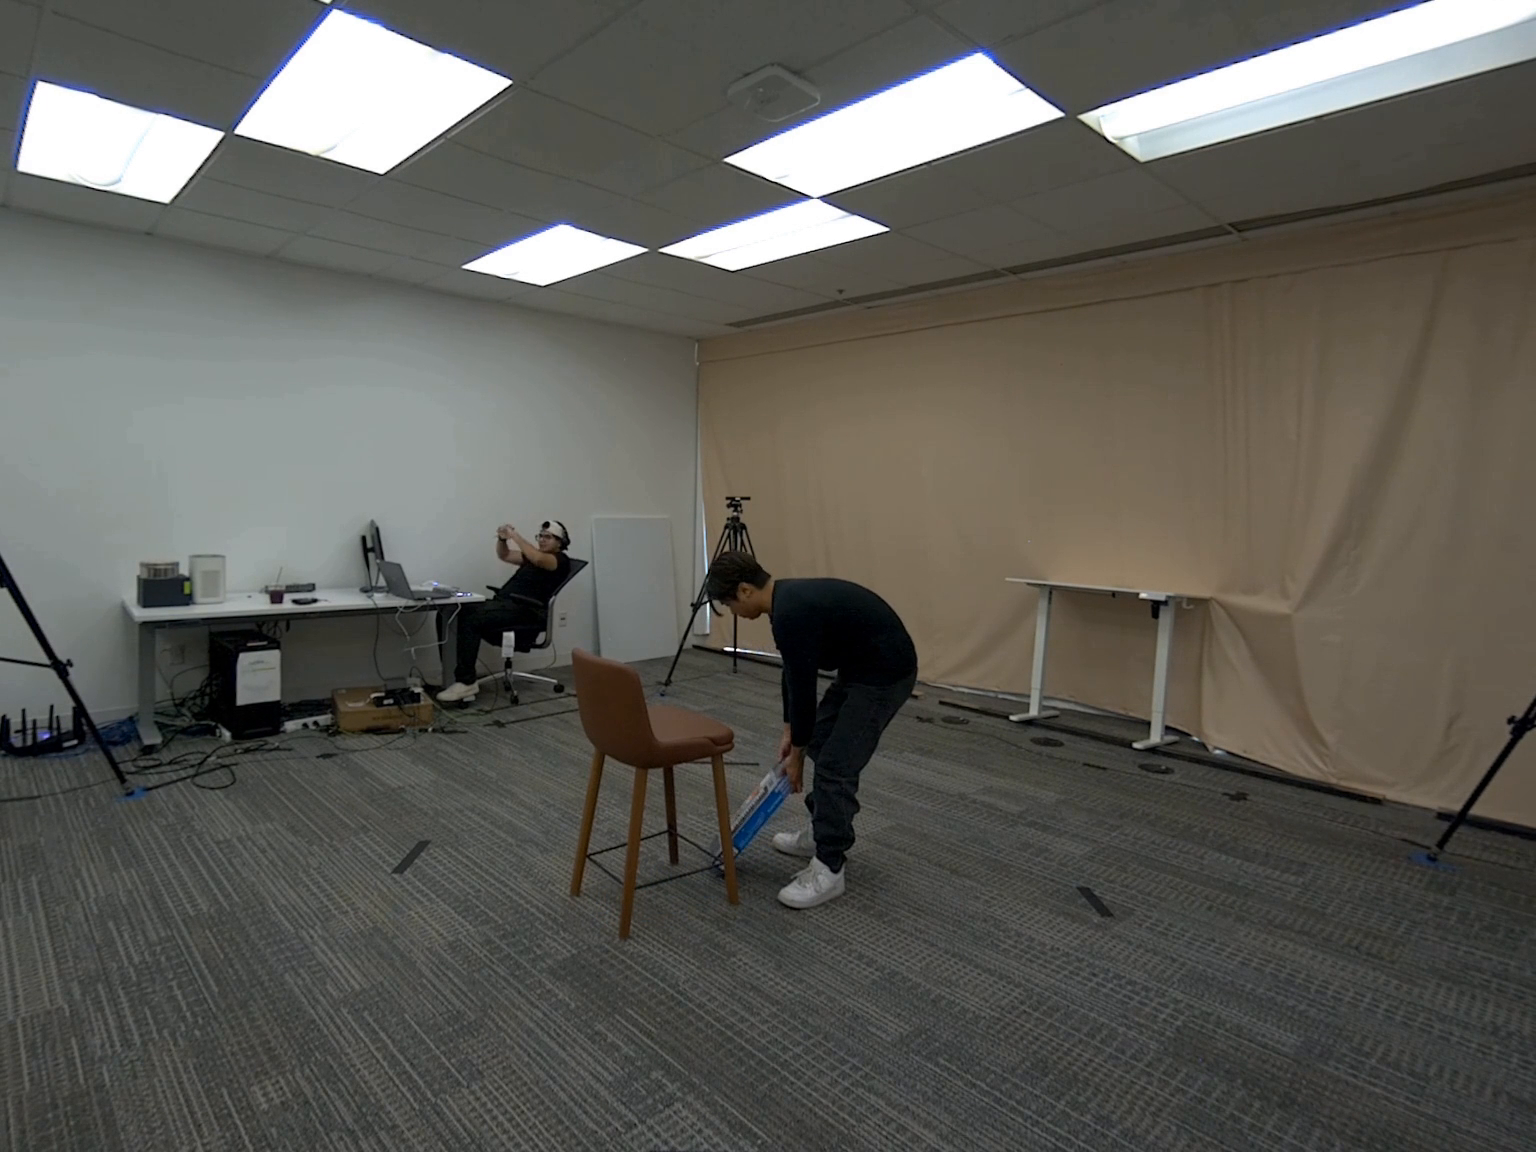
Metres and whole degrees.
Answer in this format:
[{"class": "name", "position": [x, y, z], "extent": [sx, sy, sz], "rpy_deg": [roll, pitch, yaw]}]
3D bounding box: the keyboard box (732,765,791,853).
[{"class": "keyboard box", "position": [-0.060, 0.884, 3.143], "extent": [0.059, 0.437, 0.177], "rpy_deg": [38, 1, -7]}]
